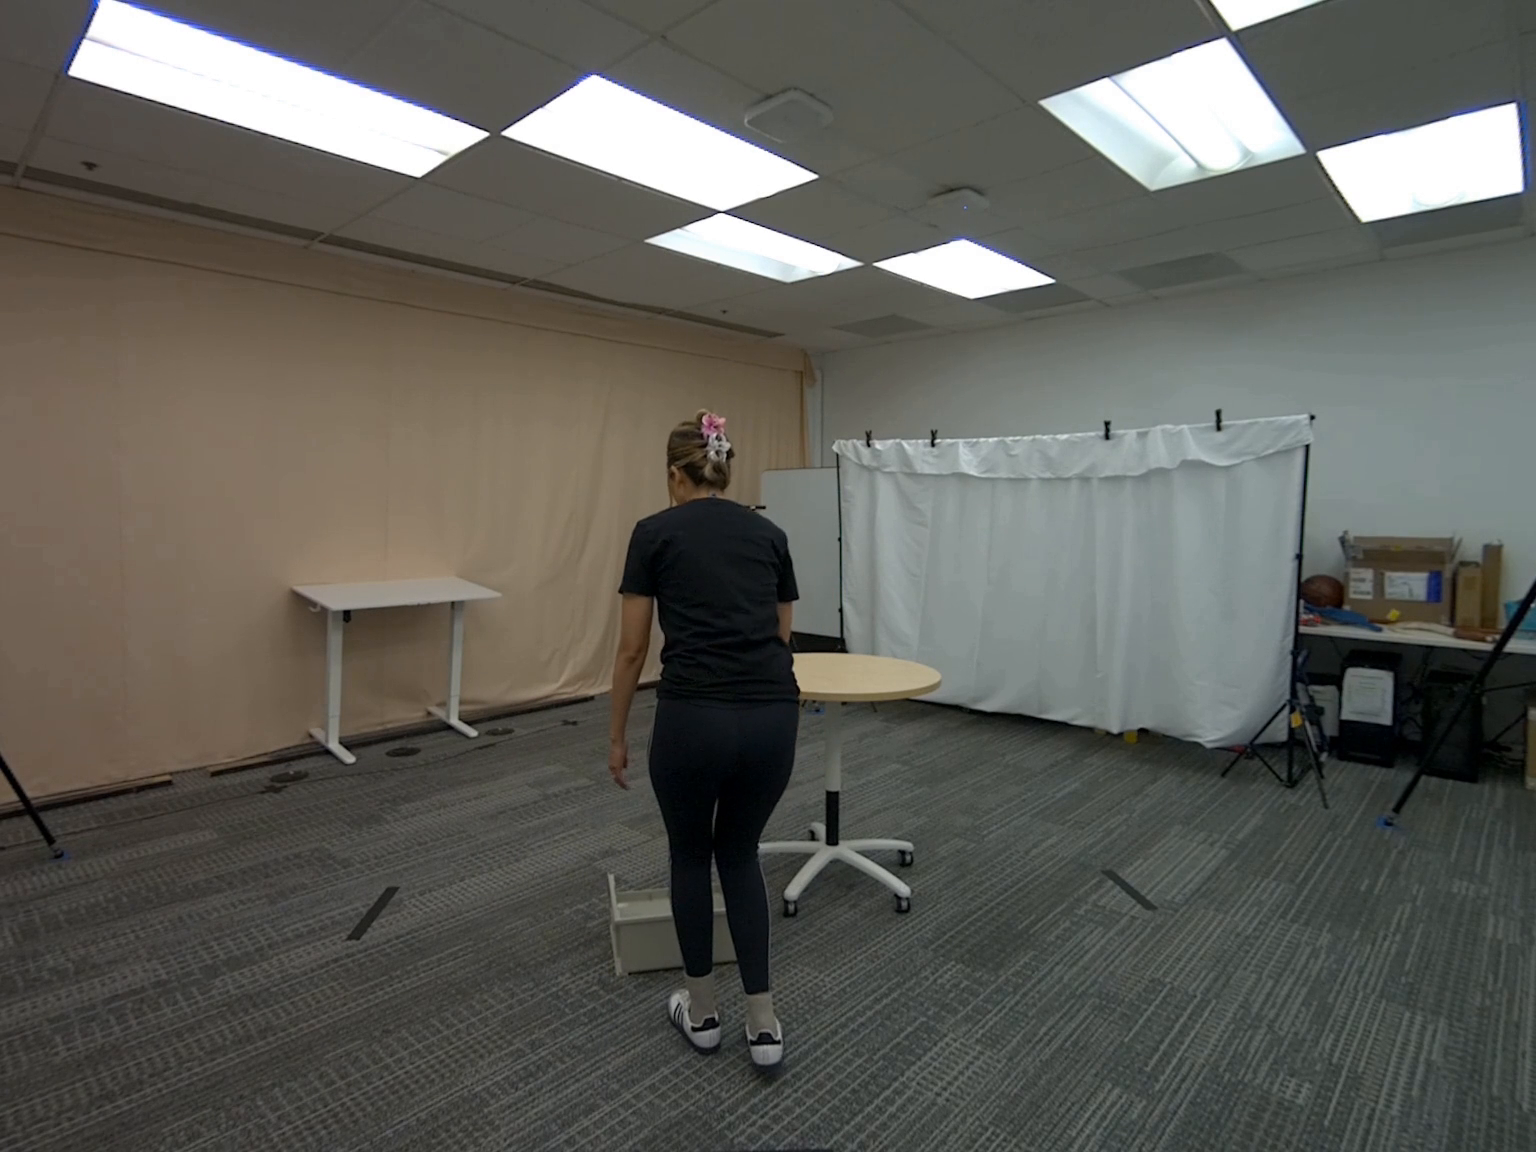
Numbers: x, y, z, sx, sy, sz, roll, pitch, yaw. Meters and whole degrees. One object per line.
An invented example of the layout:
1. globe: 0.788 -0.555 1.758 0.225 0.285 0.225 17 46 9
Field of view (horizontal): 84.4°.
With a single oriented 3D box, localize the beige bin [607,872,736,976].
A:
1. beige bin: -0.296 1.089 2.699 0.417 0.188 0.383 -1 5 -12
